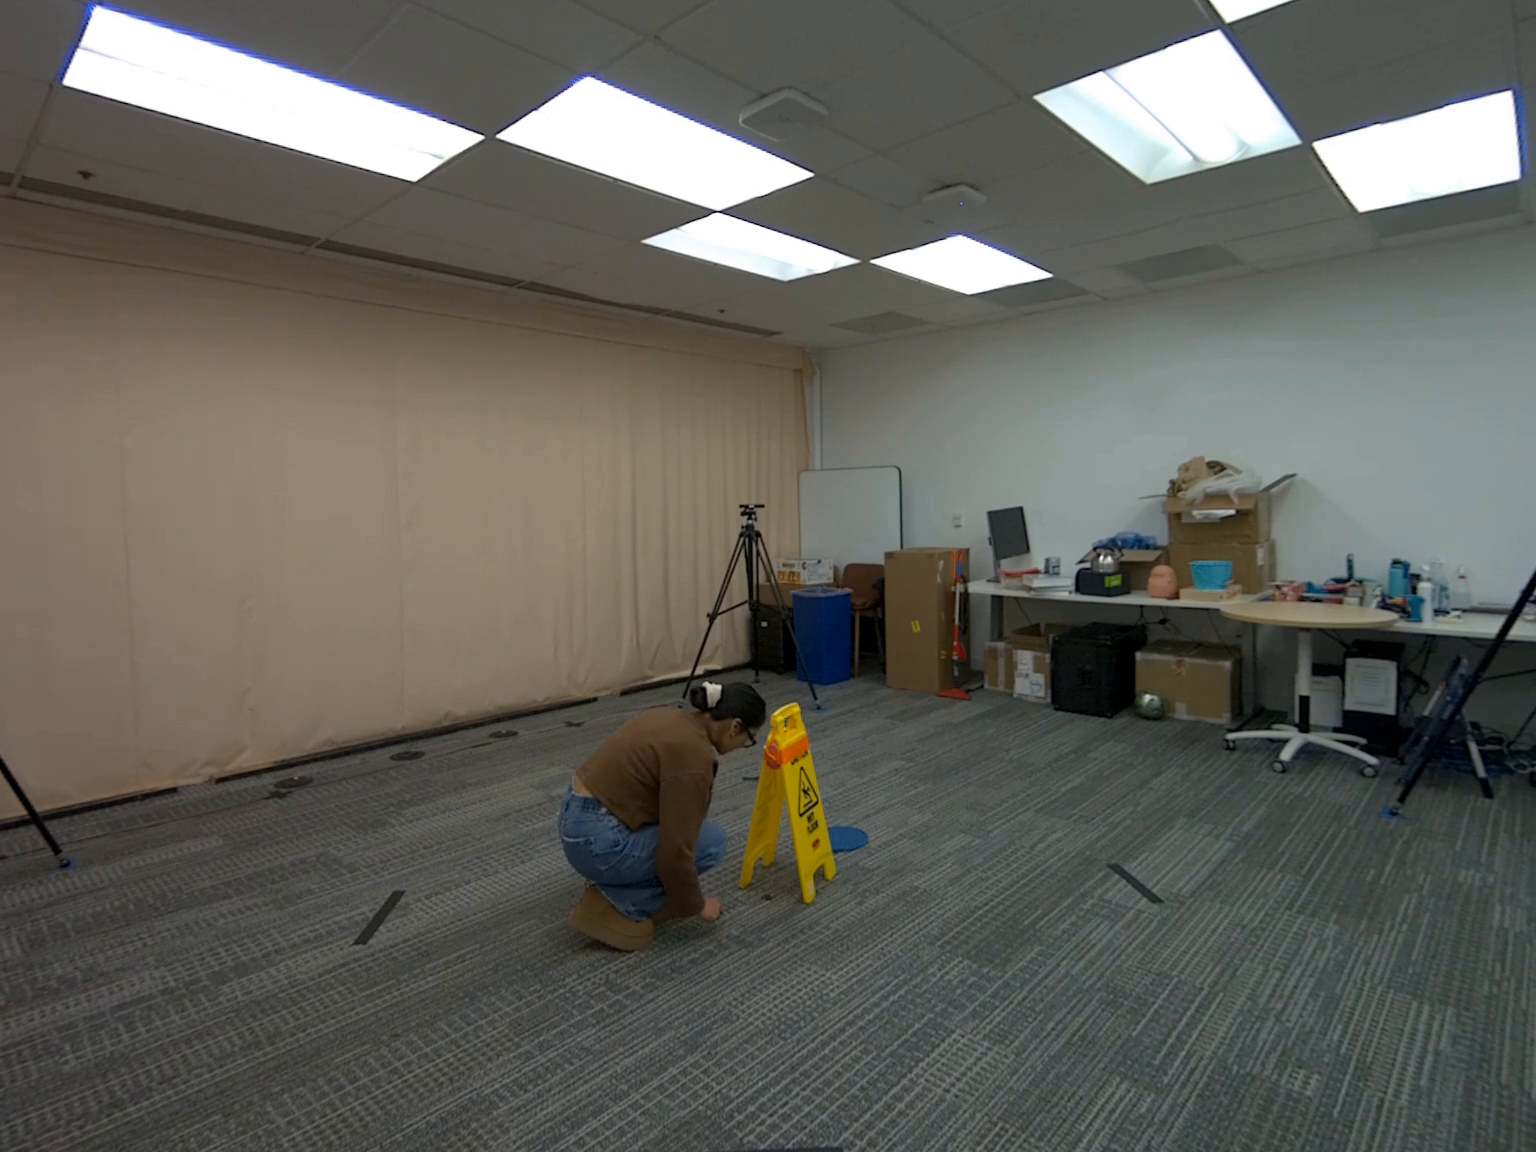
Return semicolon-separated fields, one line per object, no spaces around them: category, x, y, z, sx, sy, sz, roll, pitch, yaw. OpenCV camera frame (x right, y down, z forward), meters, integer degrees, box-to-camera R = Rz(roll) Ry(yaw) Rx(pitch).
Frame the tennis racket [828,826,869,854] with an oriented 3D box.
tennis racket;0.256;1.083;3.402;0.220;0.032;0.421;2;5;32
